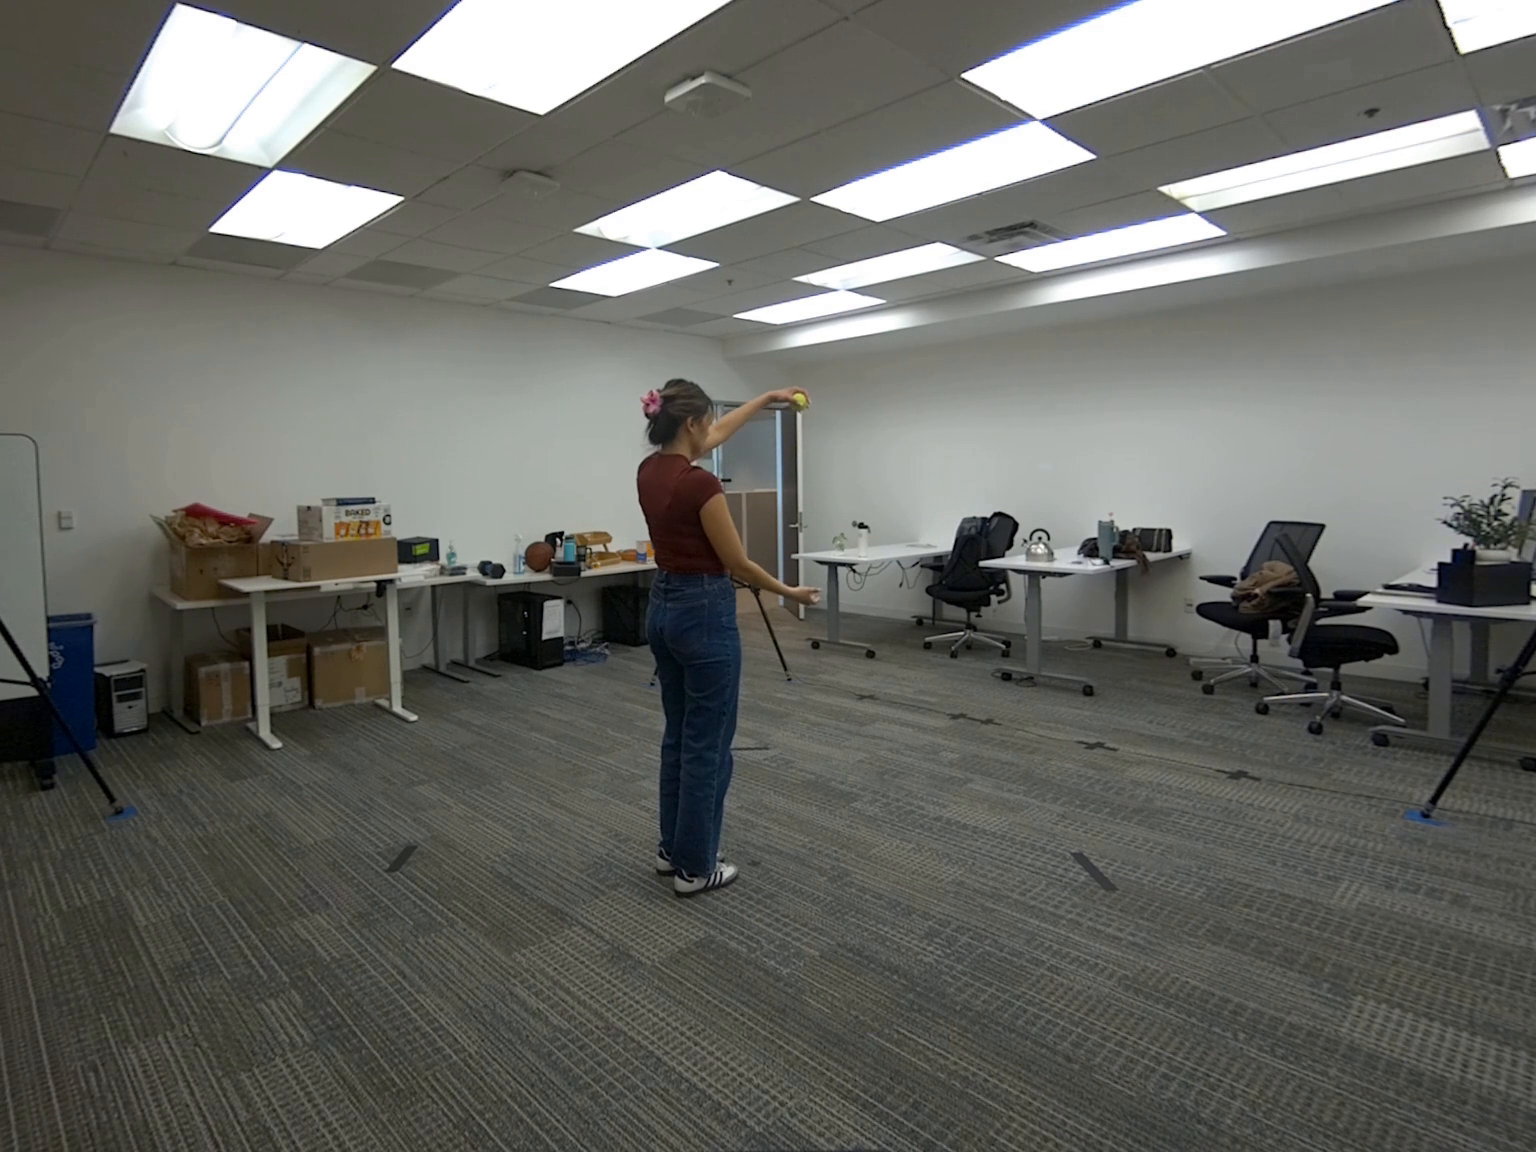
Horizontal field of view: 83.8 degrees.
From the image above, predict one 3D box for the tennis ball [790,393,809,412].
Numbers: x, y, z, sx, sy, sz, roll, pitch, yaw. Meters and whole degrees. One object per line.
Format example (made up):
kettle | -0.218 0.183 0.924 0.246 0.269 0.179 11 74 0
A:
tennis ball | 0.100 -0.627 3.174 0.066 0.066 0.067 -1 5 -2
